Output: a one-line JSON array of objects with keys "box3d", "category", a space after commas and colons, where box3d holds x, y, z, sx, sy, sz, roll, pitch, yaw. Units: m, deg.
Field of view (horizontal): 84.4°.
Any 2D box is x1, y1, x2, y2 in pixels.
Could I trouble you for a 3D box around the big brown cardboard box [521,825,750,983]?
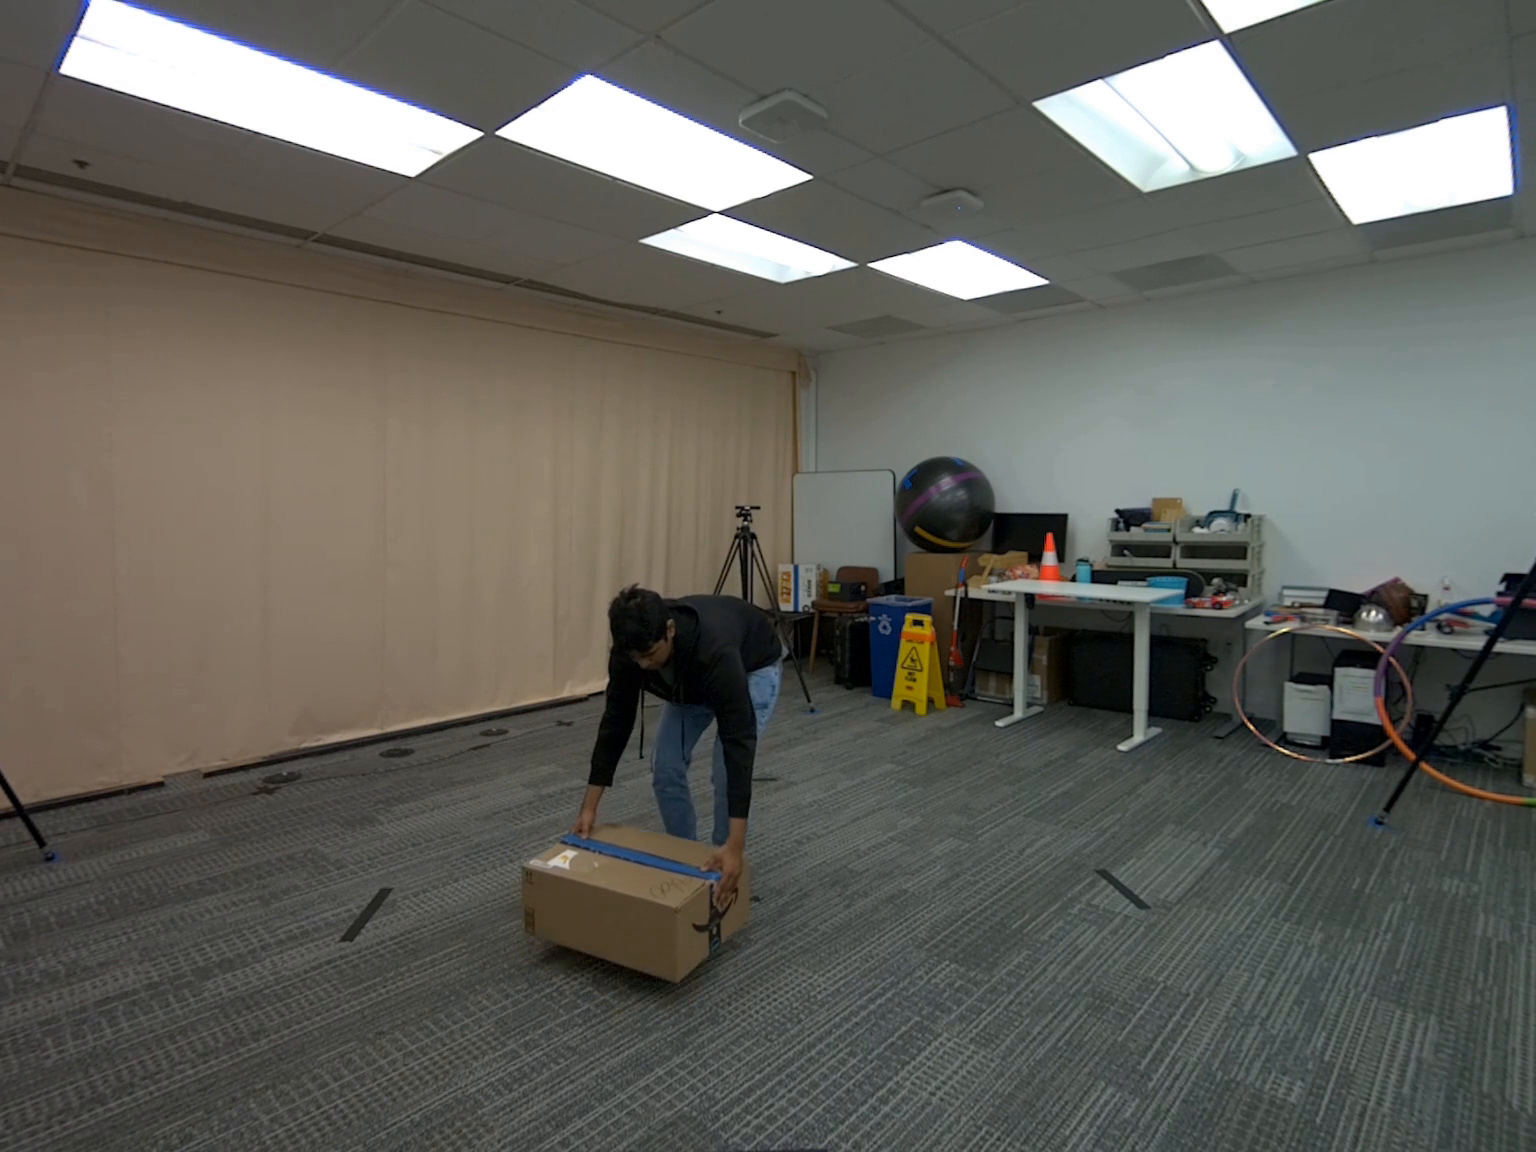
[{"box3d": [-0.407, 0.961, 2.615, 0.605, 0.232, 0.407, 3, 5, 28], "category": "big brown cardboard box"}]
